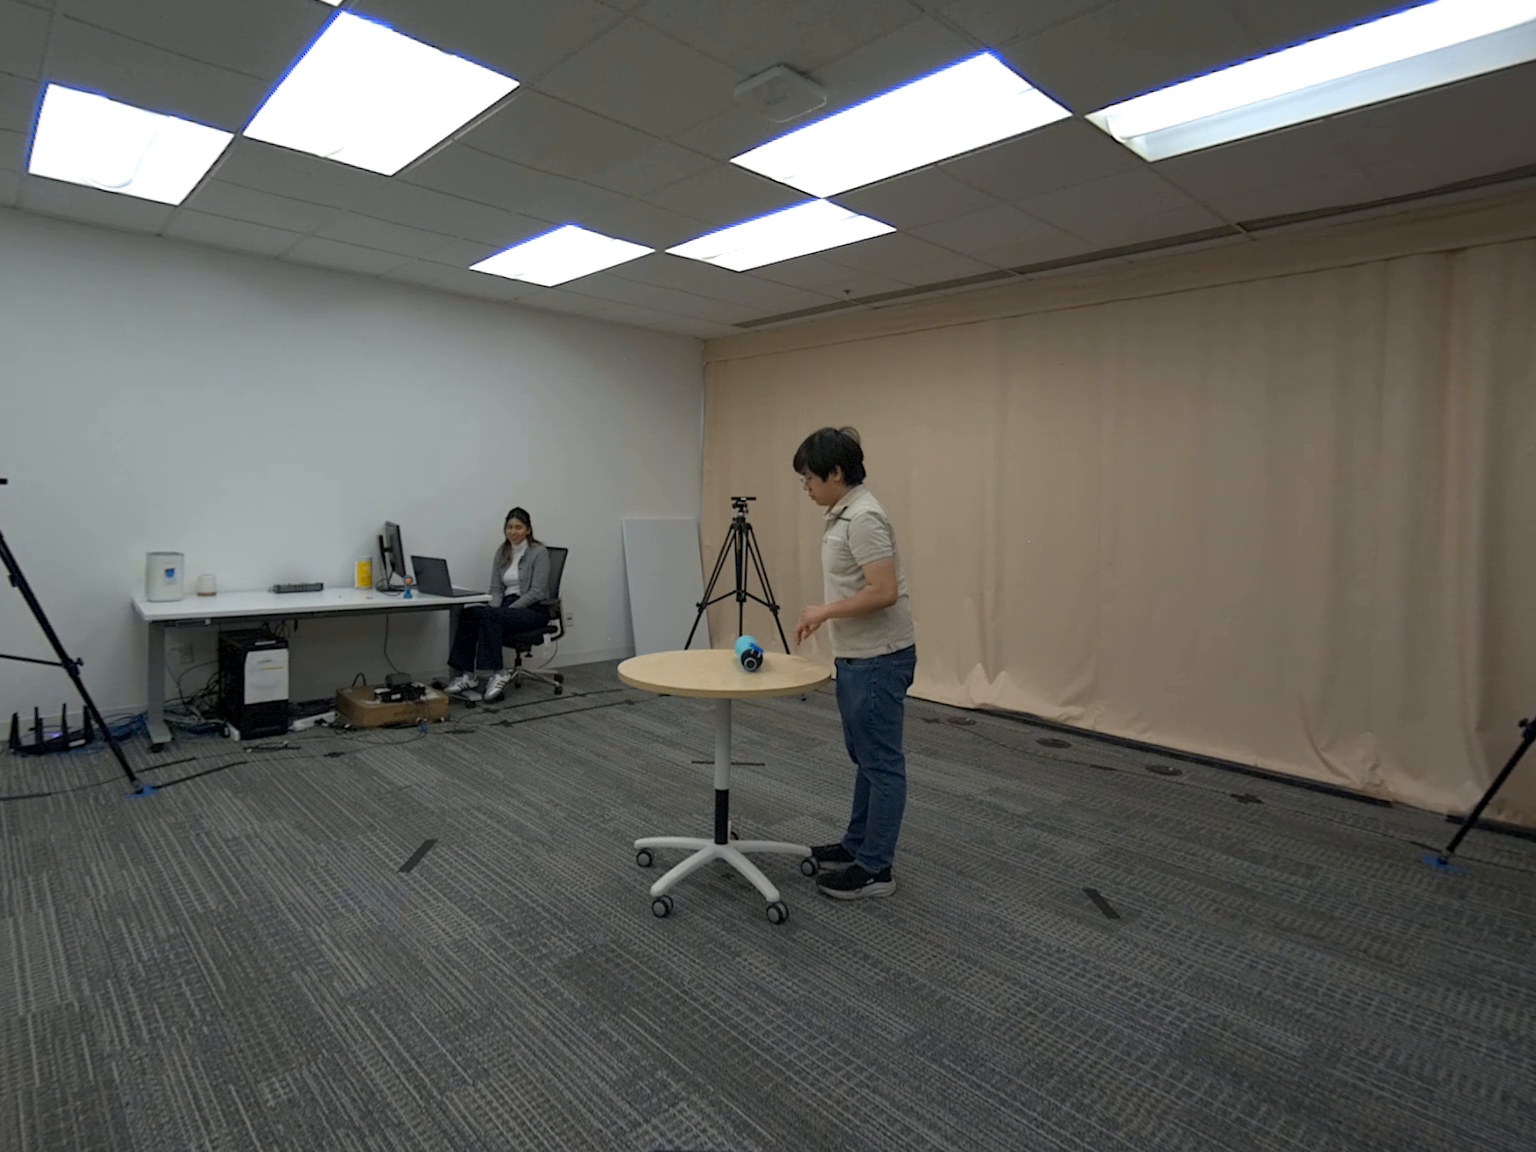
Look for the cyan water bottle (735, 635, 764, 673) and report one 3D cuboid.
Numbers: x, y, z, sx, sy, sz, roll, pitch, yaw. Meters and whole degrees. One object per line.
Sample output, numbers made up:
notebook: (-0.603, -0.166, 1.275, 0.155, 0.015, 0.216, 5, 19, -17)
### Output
cyan water bottle: (-0.071, 0.280, 3.076, 0.092, 0.092, 0.285, 1, 4, -7)
